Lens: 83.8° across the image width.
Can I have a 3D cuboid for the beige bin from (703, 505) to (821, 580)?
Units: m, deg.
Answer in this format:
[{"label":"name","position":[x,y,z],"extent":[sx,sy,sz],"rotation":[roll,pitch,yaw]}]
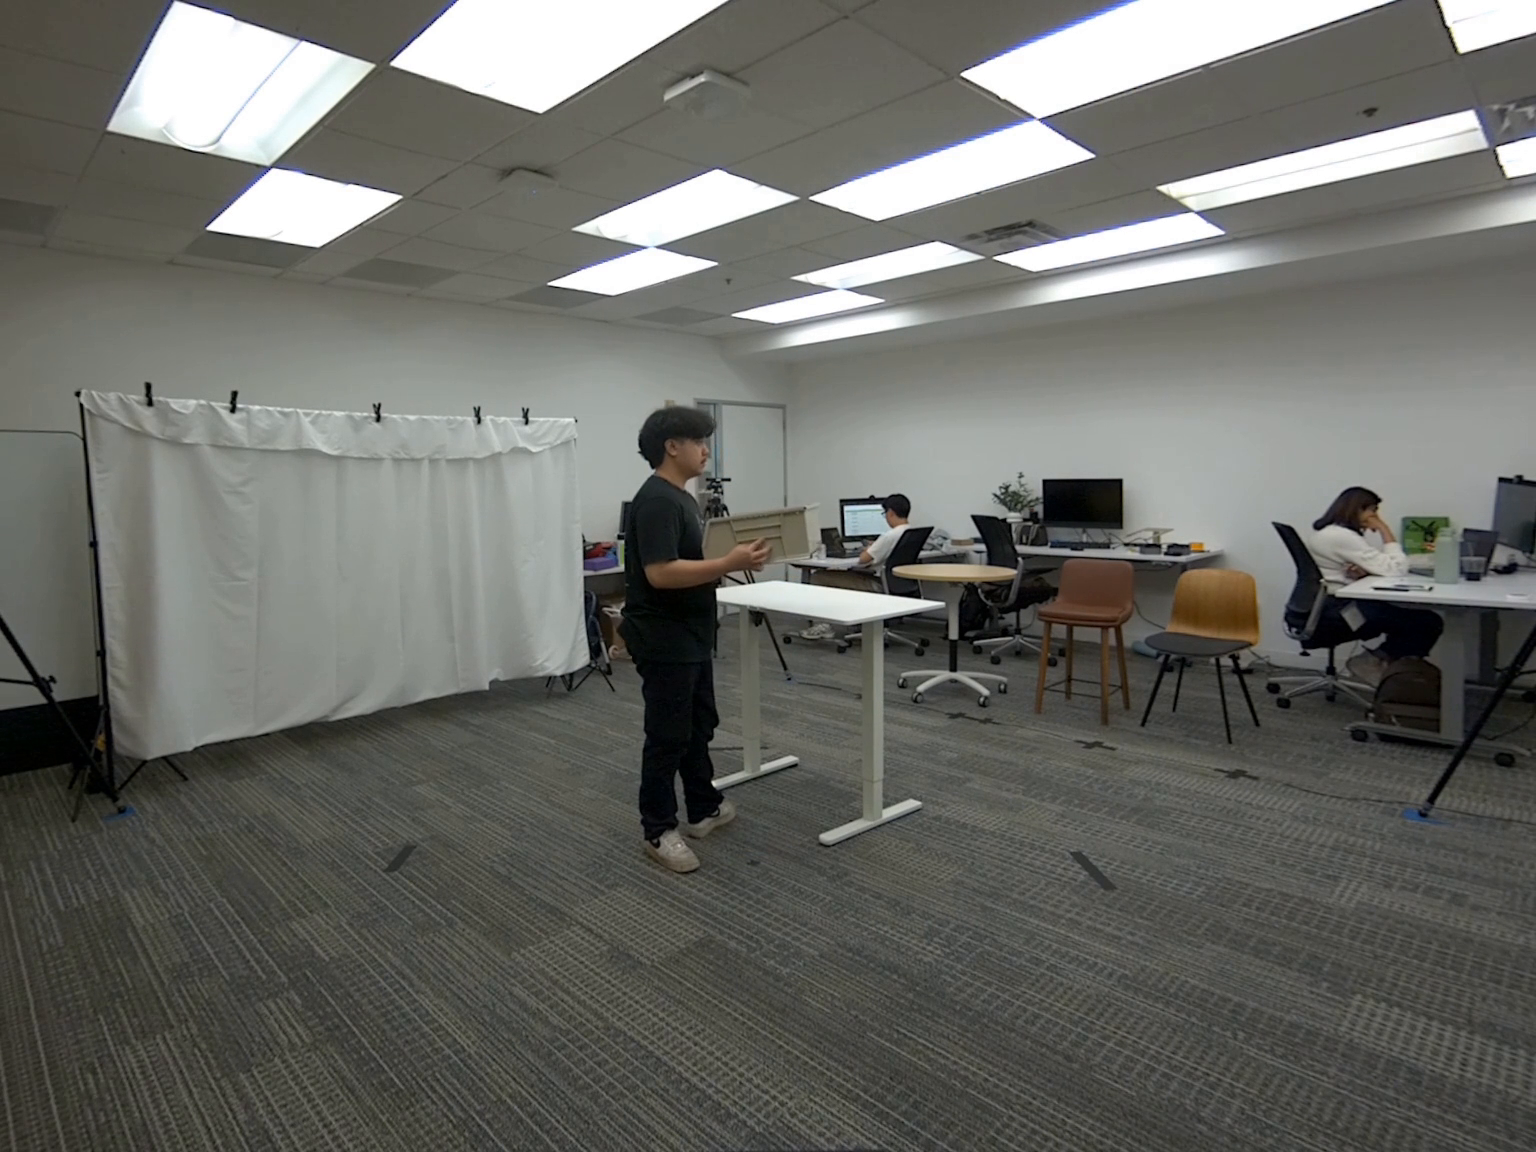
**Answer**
[{"label":"beige bin","position":[-0.010,-0.146,3.100],"extent":[0.381,0.188,0.419],"rotation":[-5,5,11]}]
